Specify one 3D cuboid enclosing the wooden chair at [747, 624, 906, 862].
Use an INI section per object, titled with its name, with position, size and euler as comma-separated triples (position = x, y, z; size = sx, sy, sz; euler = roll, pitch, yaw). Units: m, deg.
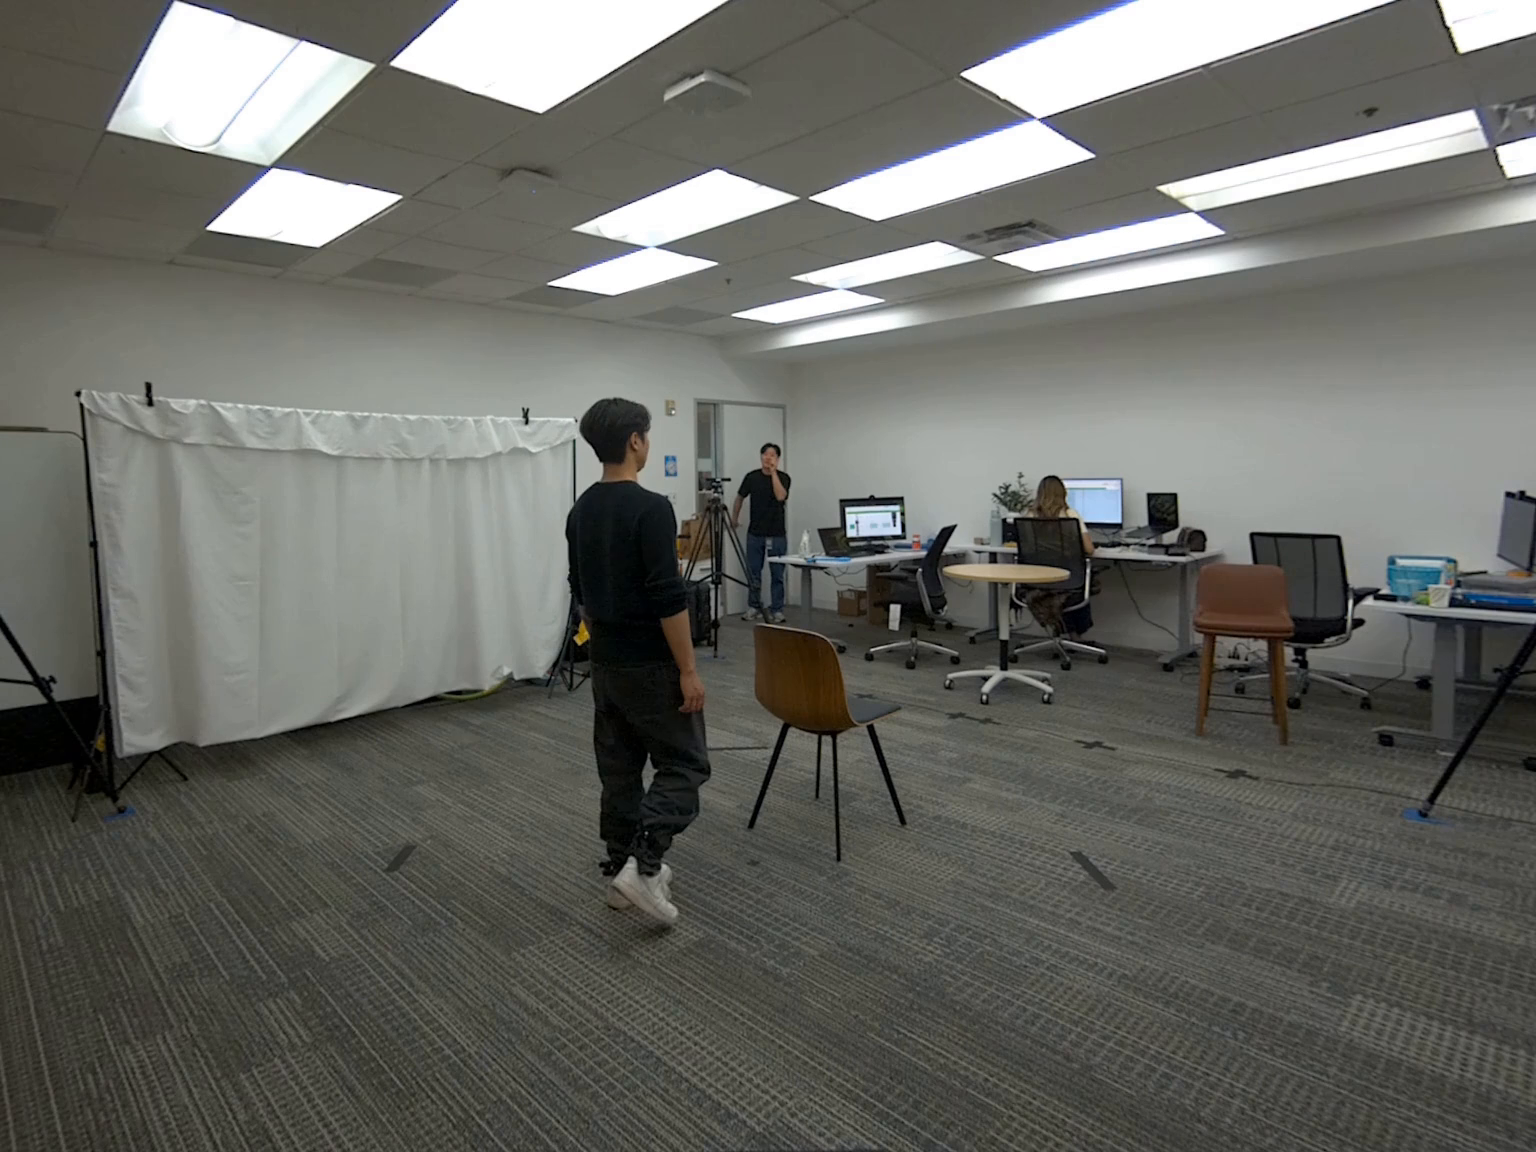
[wooden chair]
position = 0.236, 0.578, 3.389
size = 0.493, 0.871, 0.511
euler = 3, 10, 43
